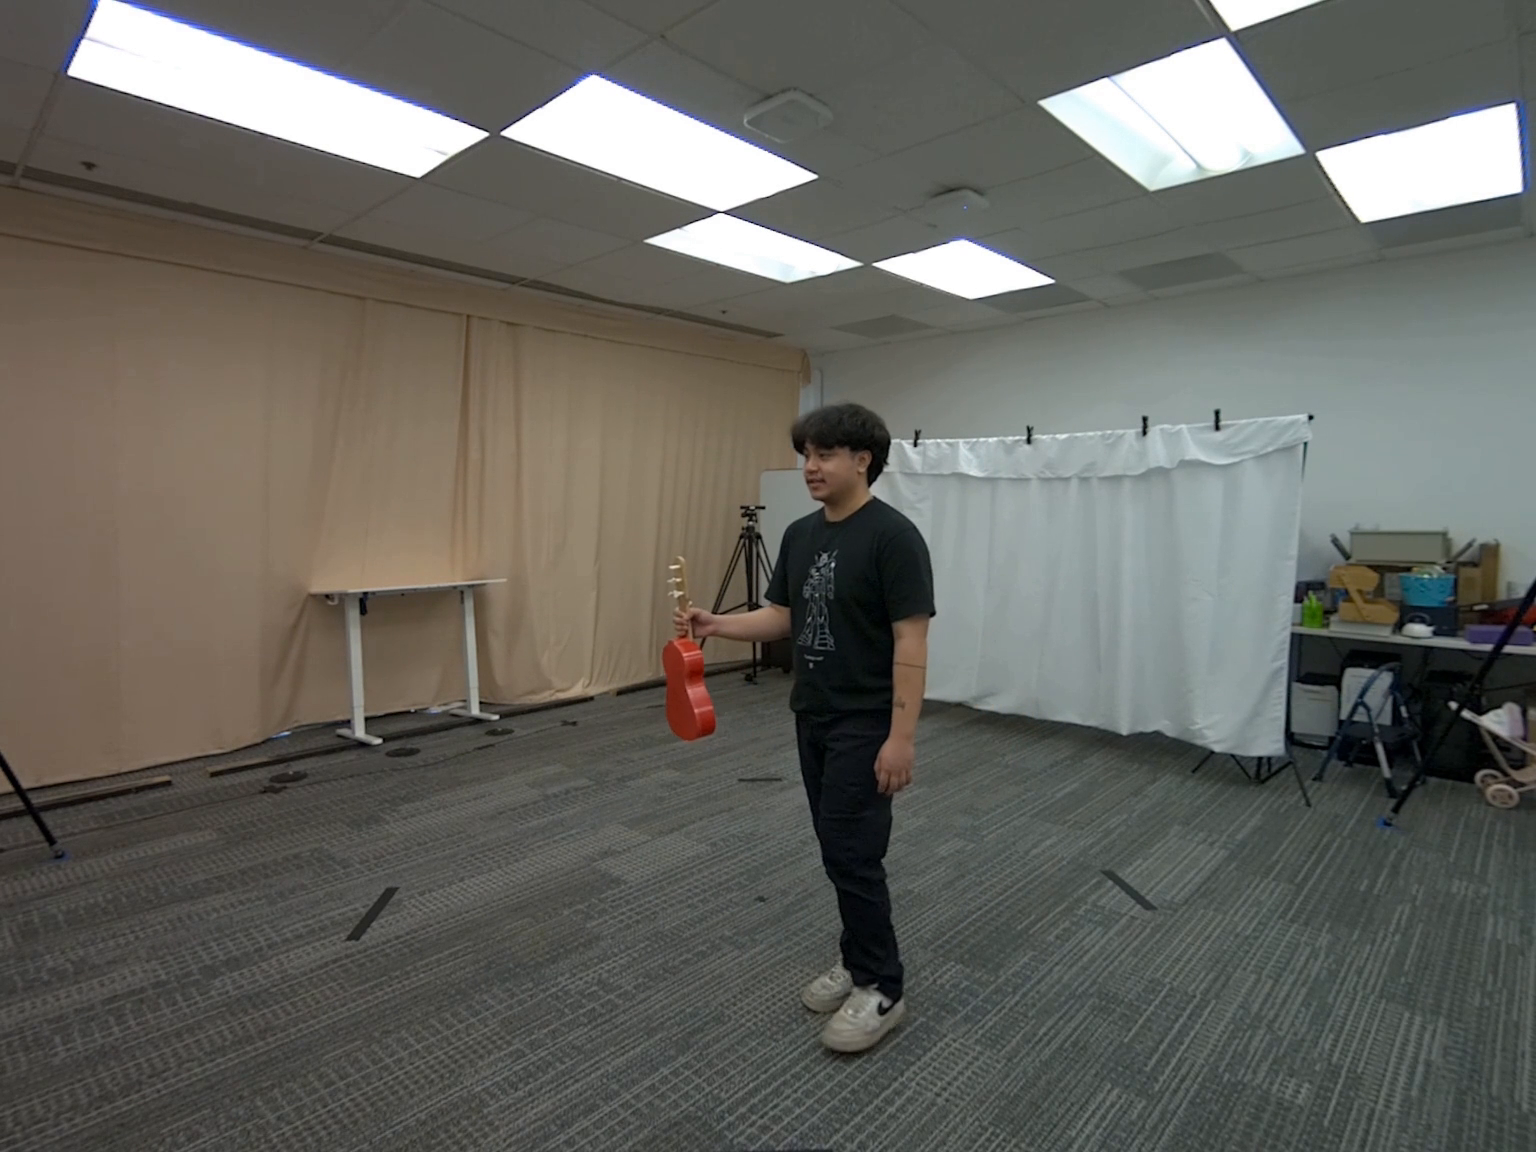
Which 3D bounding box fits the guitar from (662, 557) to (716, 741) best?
[{"bbox_3d":[-0.242,0.210,2.362,0.069,0.501,0.196,-7,-8,-28],"label":"guitar"}]
